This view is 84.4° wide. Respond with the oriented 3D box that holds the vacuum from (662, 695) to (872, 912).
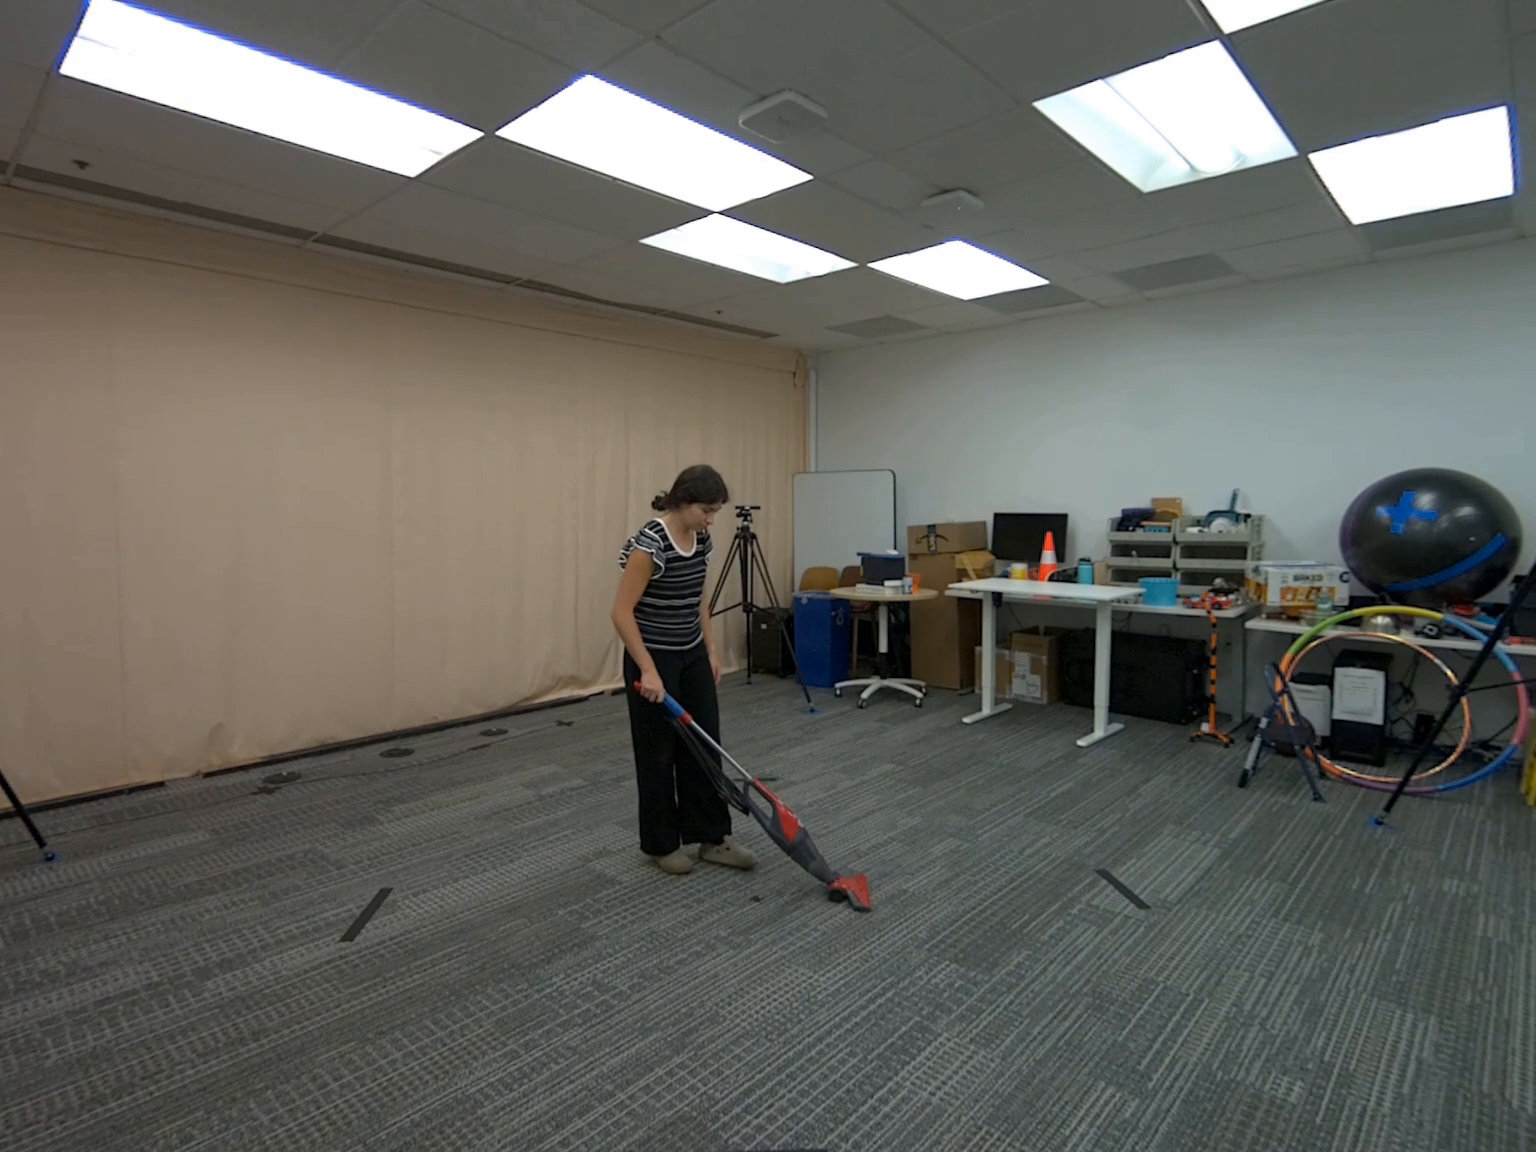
[{"bbox_3d":[-0.071,0.764,3.033,1.052,0.144,0.251,45,9,2],"label":"vacuum"}]
